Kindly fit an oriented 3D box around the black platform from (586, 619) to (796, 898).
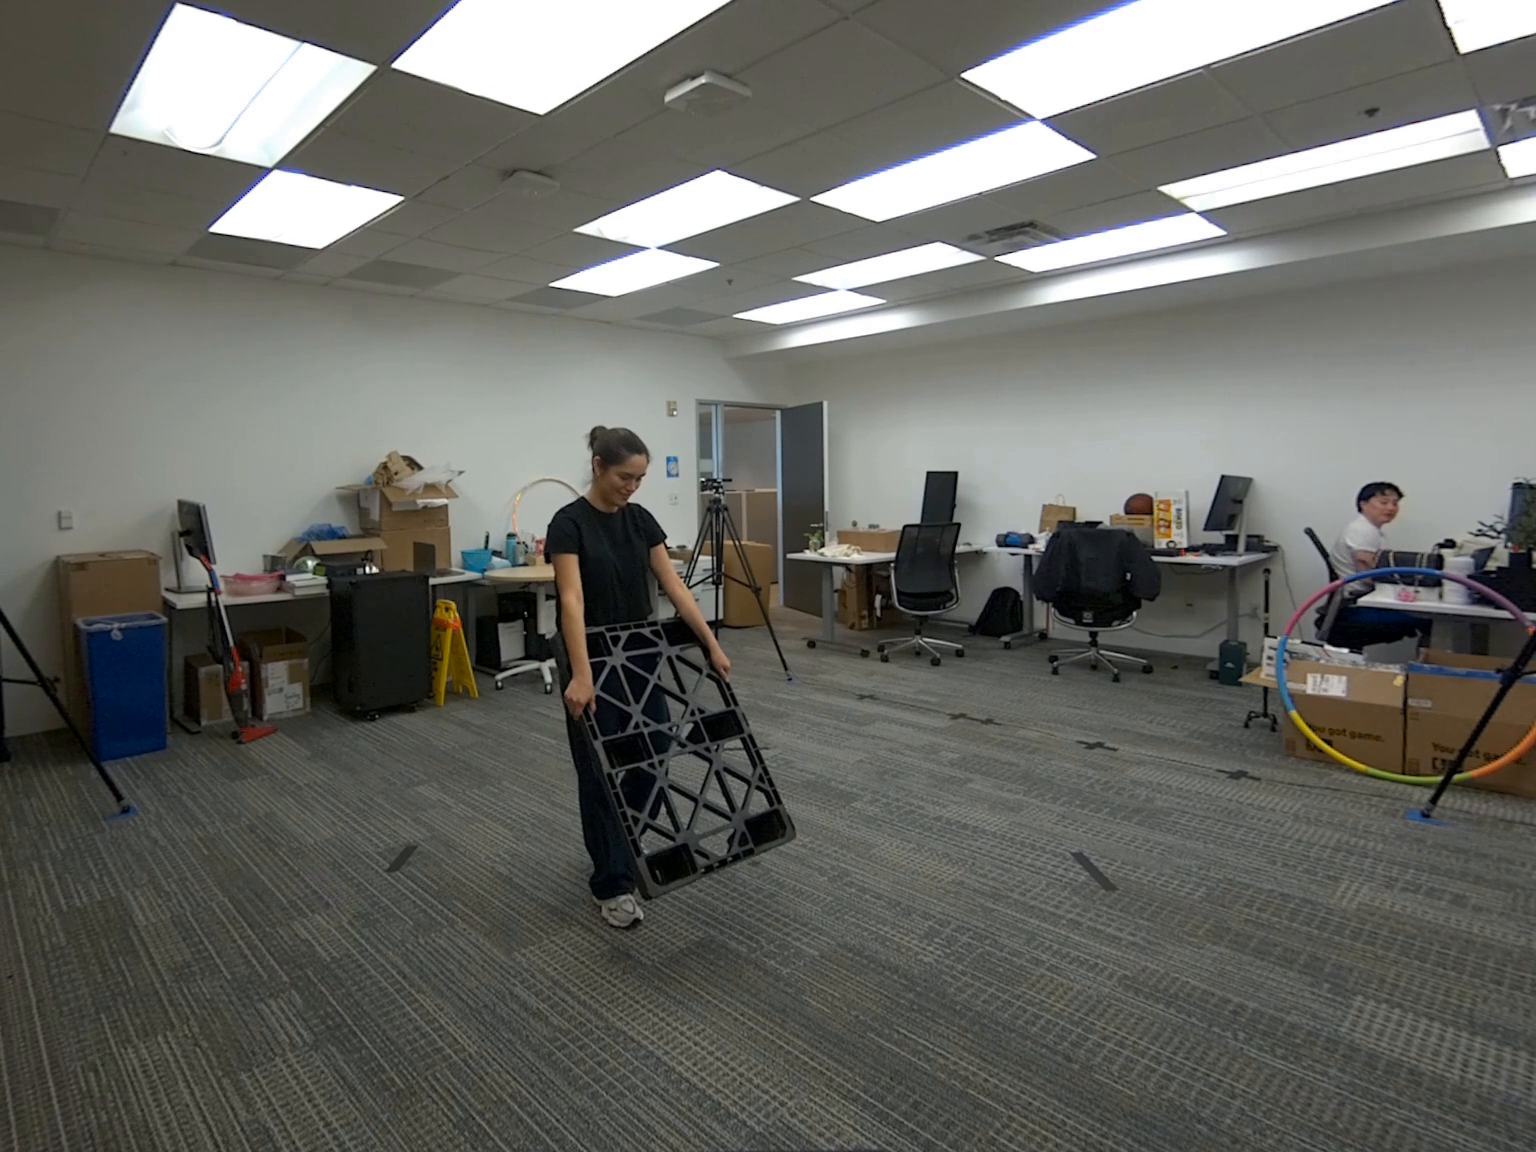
[{"bbox_3d":[-0.307,0.521,2.657,0.588,0.826,0.144,-2,-31,-46],"label":"black platform"}]
